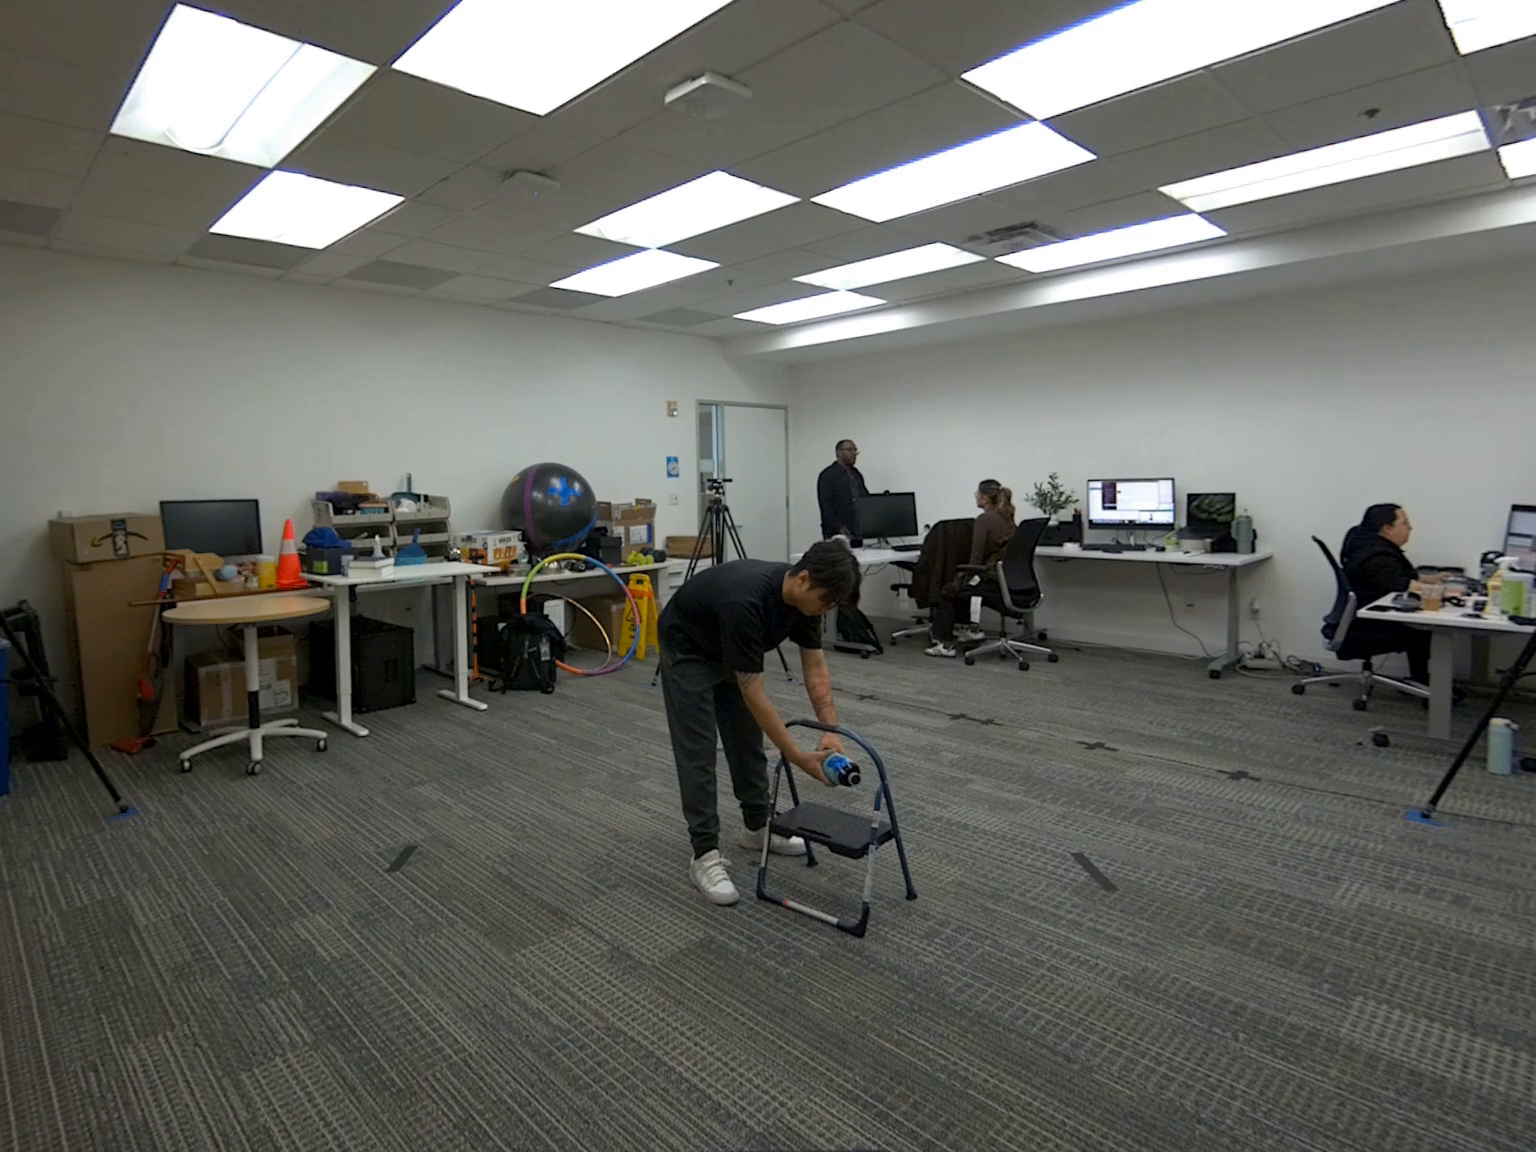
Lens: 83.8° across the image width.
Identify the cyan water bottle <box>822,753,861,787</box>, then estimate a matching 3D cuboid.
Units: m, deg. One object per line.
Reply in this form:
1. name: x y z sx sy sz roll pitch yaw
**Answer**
1. cyan water bottle: 0.216 0.628 2.771 0.091 0.092 0.287 -2 0 -18
